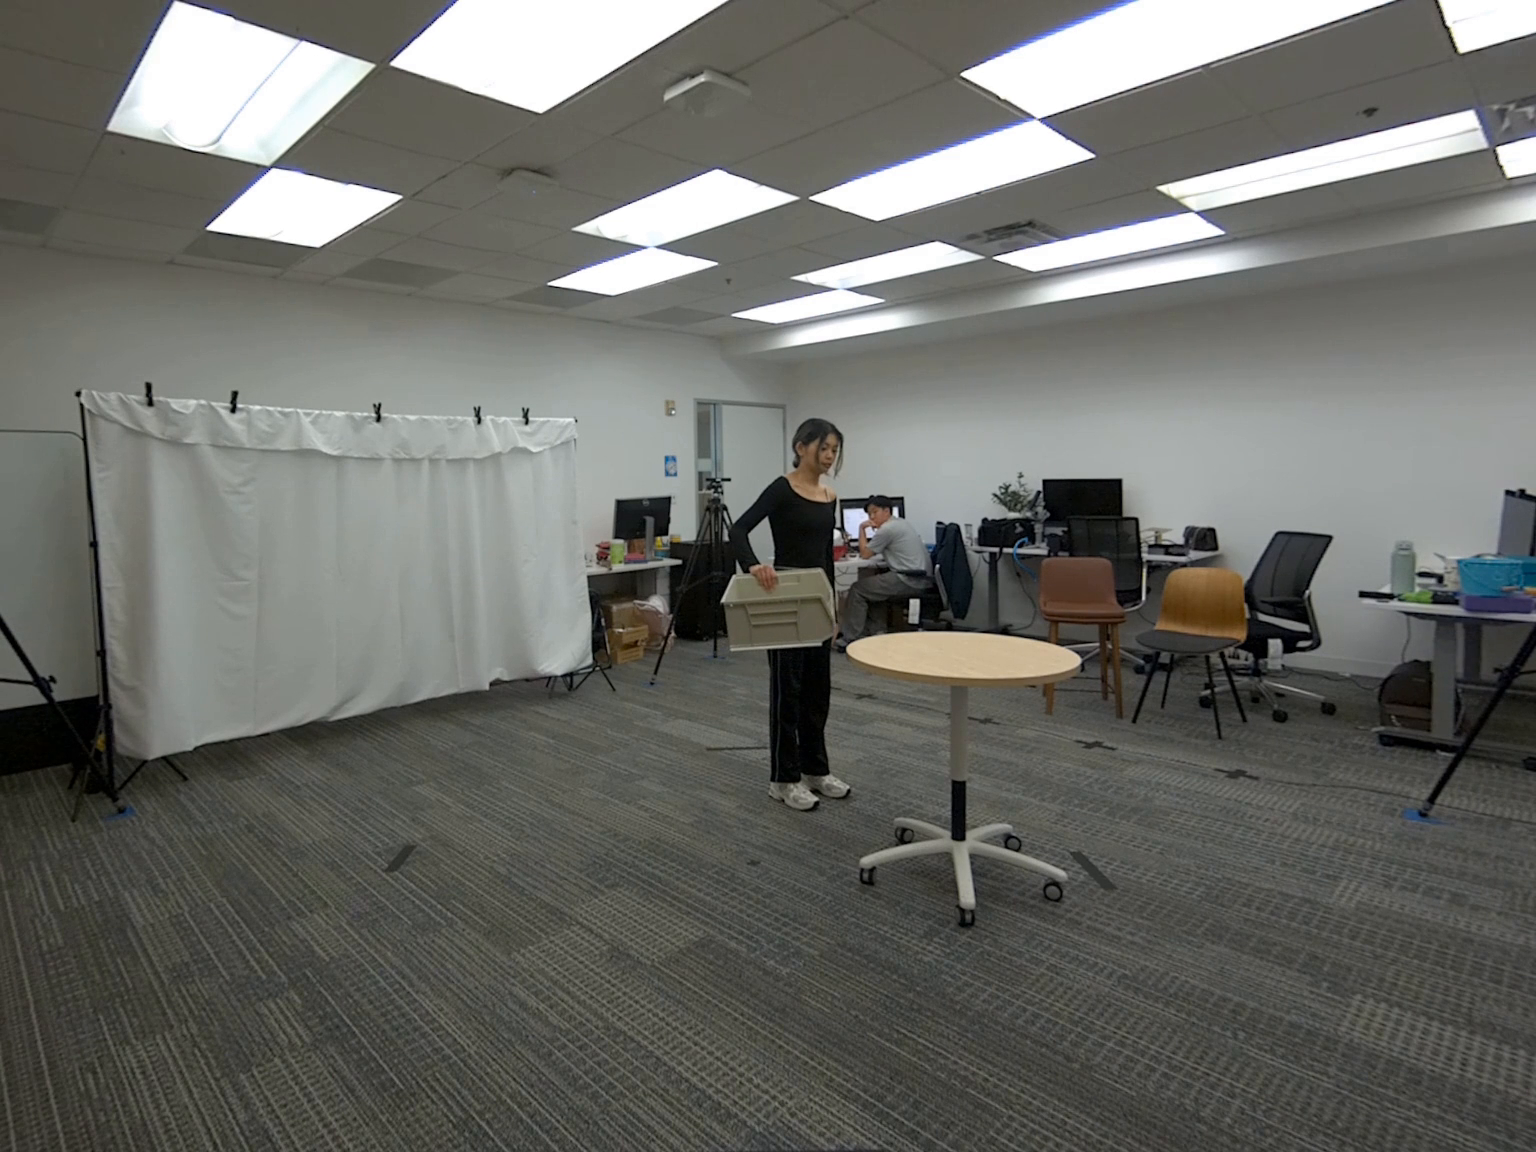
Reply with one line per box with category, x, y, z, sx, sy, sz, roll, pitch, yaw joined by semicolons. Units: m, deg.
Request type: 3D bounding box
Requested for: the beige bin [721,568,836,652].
beige bin;0.054;0.114;3.086;0.379;0.187;0.425;-5;11;4
